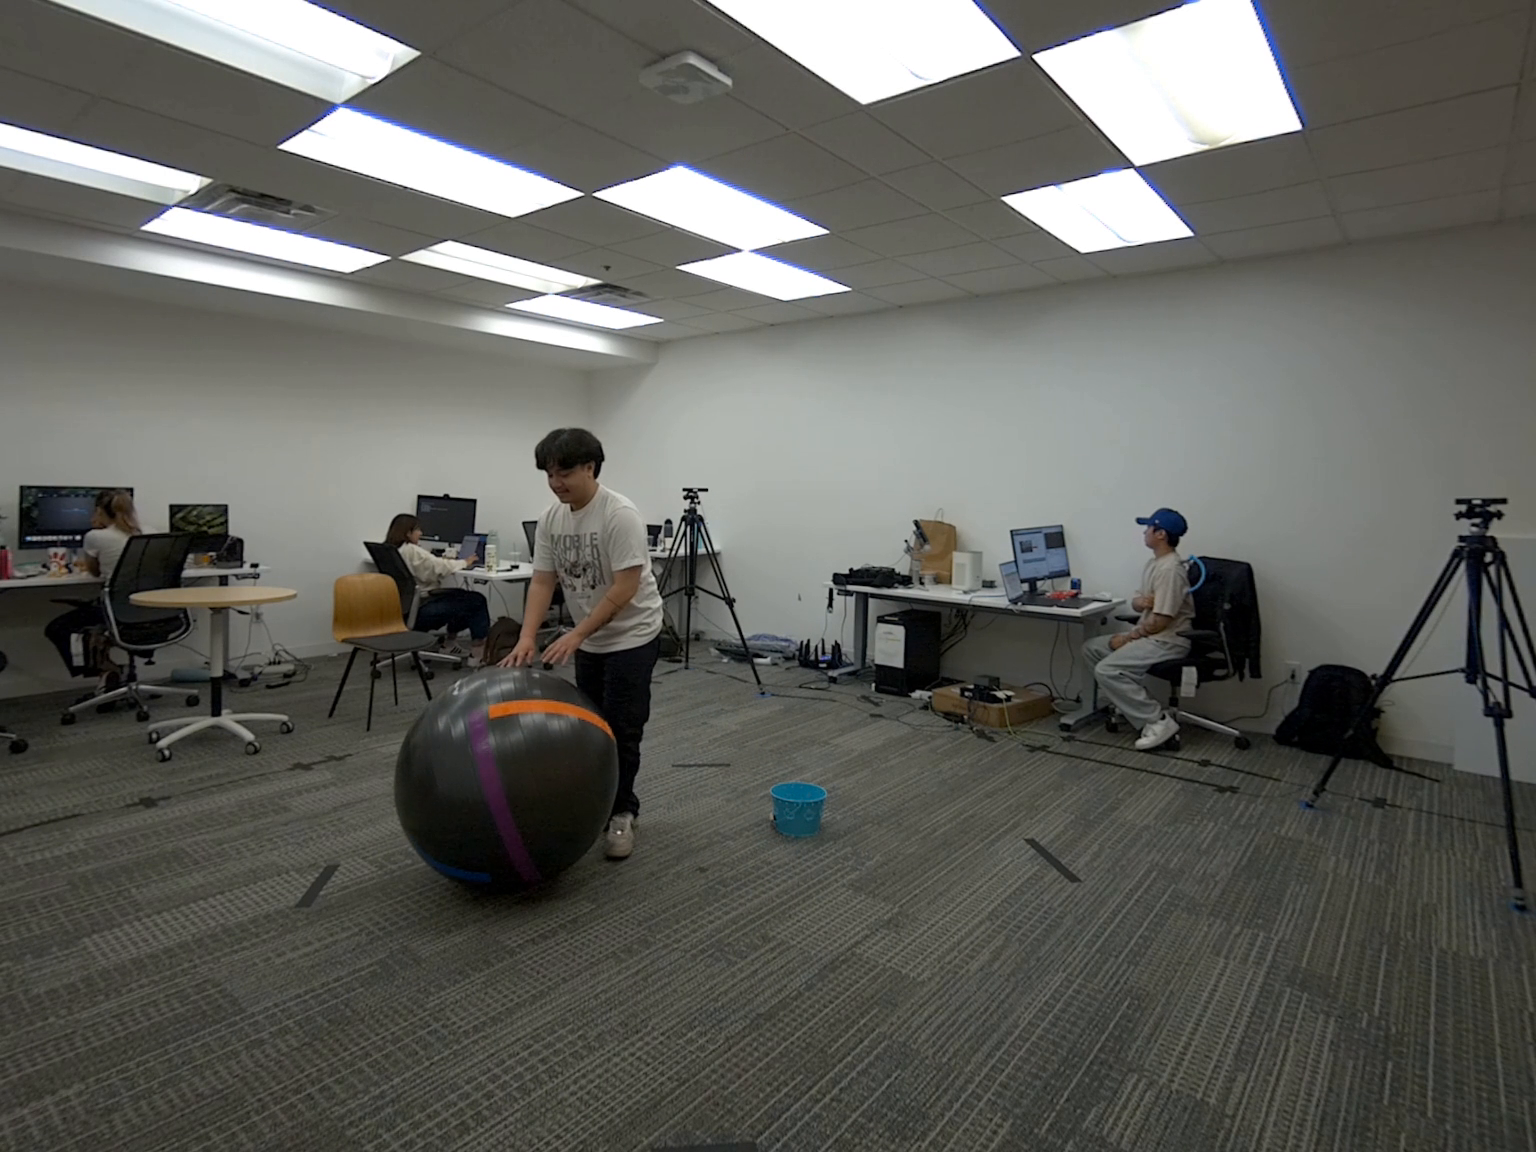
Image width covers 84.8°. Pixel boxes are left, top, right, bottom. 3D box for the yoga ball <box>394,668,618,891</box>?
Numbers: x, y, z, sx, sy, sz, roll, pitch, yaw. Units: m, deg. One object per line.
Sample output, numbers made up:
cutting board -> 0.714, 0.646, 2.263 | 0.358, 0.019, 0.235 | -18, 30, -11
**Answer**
yoga ball -> -0.923, 0.704, 2.982 | 0.757, 0.755, 0.762 | 1, 4, -2
